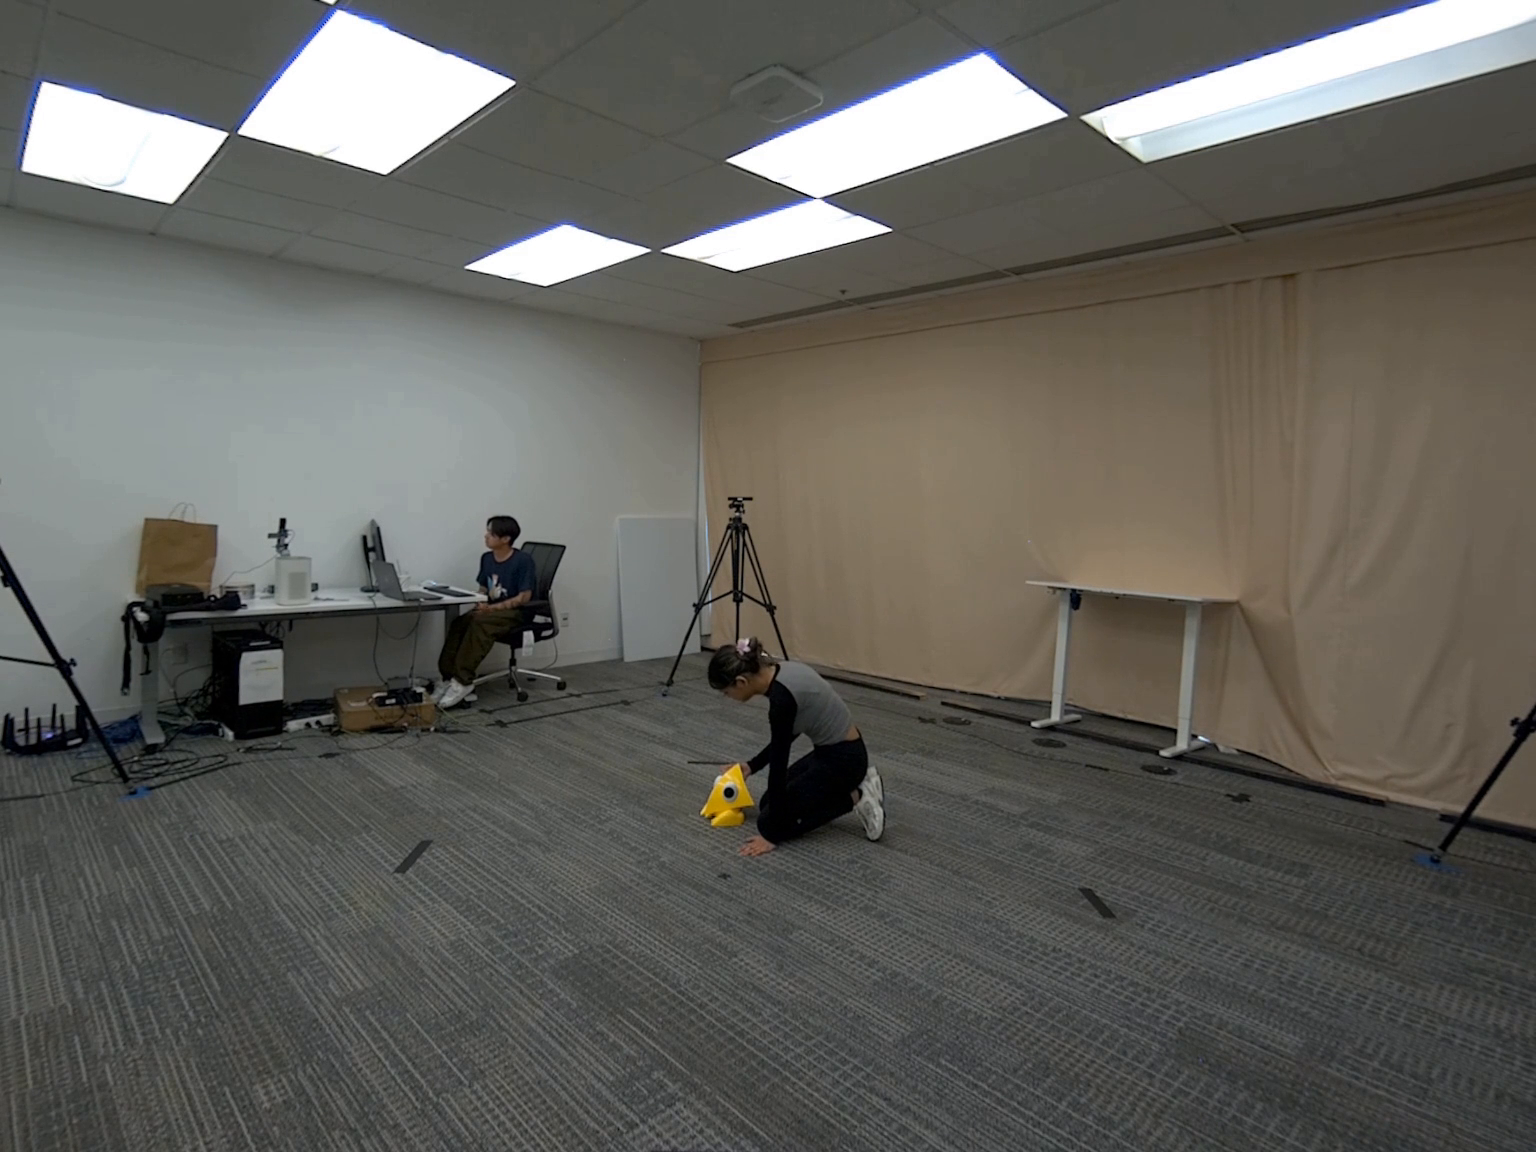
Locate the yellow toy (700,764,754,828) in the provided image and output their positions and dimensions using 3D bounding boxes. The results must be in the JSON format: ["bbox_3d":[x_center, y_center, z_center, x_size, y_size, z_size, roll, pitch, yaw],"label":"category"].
[{"bbox_3d":[-0.190,0.938,3.682,0.189,0.230,0.209,0,4,-25],"label":"yellow toy"}]
